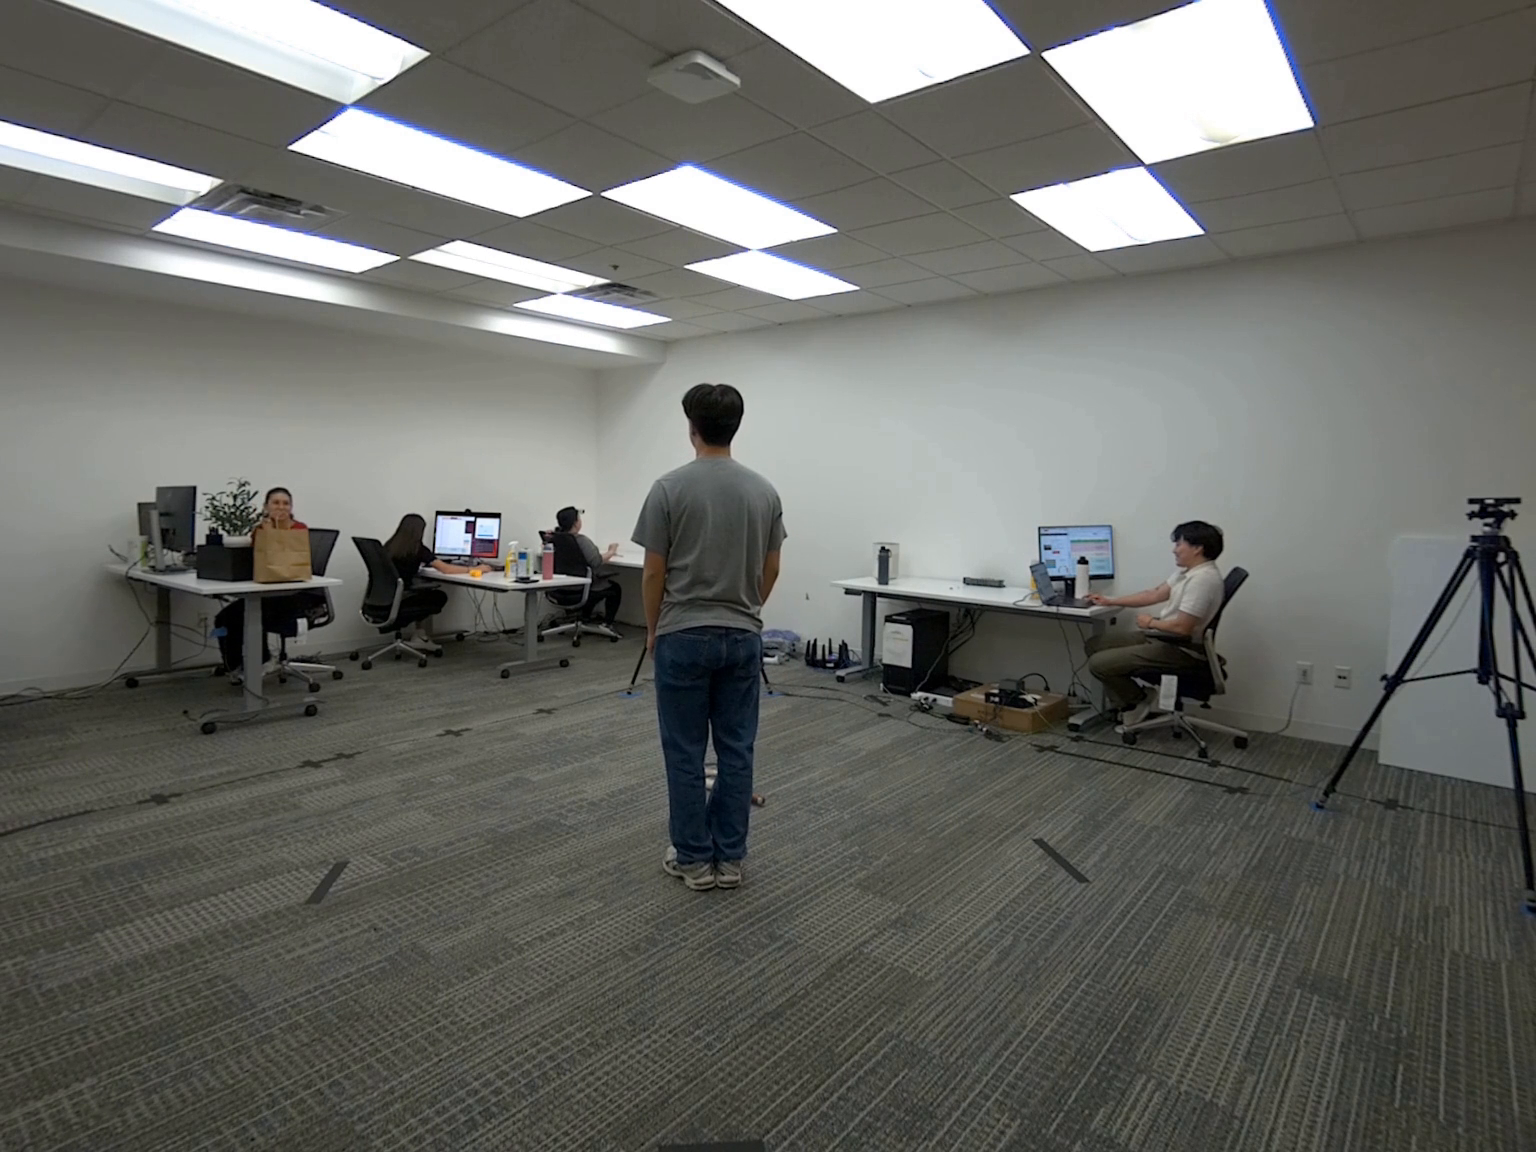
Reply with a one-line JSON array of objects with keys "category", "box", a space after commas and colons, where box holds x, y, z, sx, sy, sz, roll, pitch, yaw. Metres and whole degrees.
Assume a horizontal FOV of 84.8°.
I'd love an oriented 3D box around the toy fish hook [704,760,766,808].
[{"category": "toy fish hook", "box": [-0.177, 0.960, 3.941, 0.524, 0.048, 0.218, 7, 10, 44]}]
